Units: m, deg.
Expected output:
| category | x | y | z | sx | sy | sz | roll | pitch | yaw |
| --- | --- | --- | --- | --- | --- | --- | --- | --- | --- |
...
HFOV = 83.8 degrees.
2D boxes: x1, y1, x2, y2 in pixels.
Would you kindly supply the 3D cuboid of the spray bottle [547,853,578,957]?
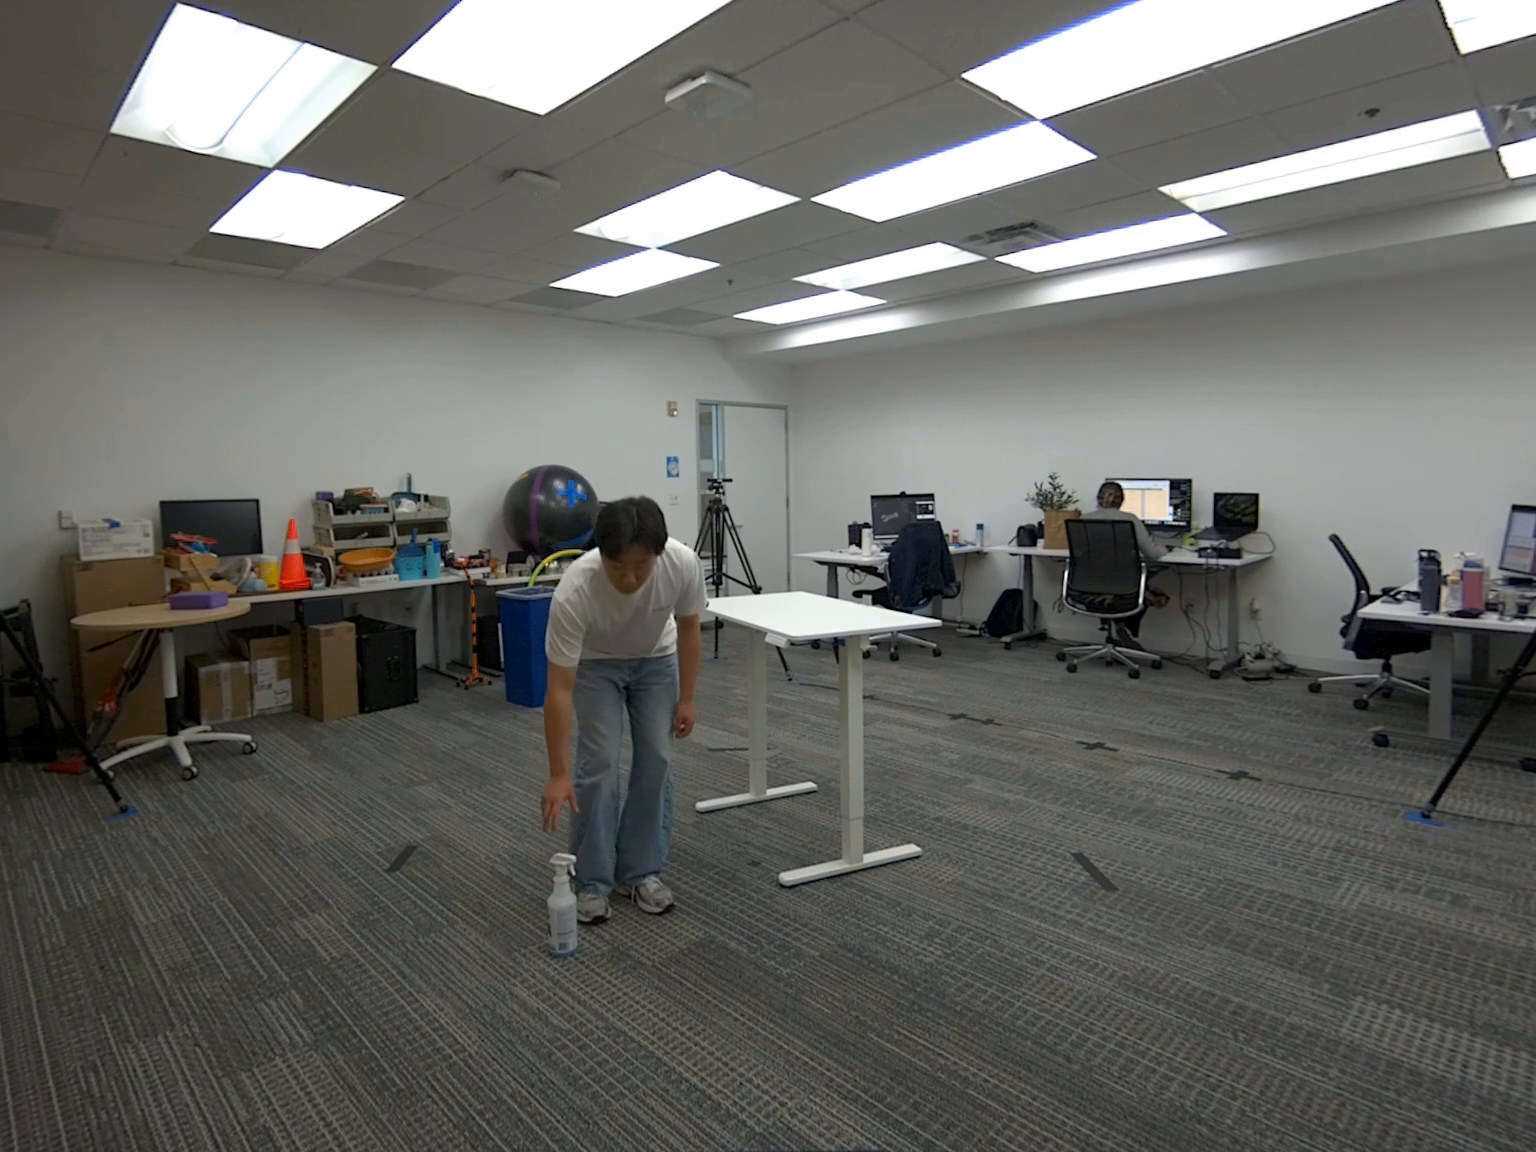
| category | x | y | z | sx | sy | sz | roll | pitch | yaw |
| --- | --- | --- | --- | --- | --- | --- | --- | --- | --- |
| spray bottle | -0.617 | 0.982 | 2.548 | 0.085 | 0.296 | 0.093 | -2 | 5 | -39 |
